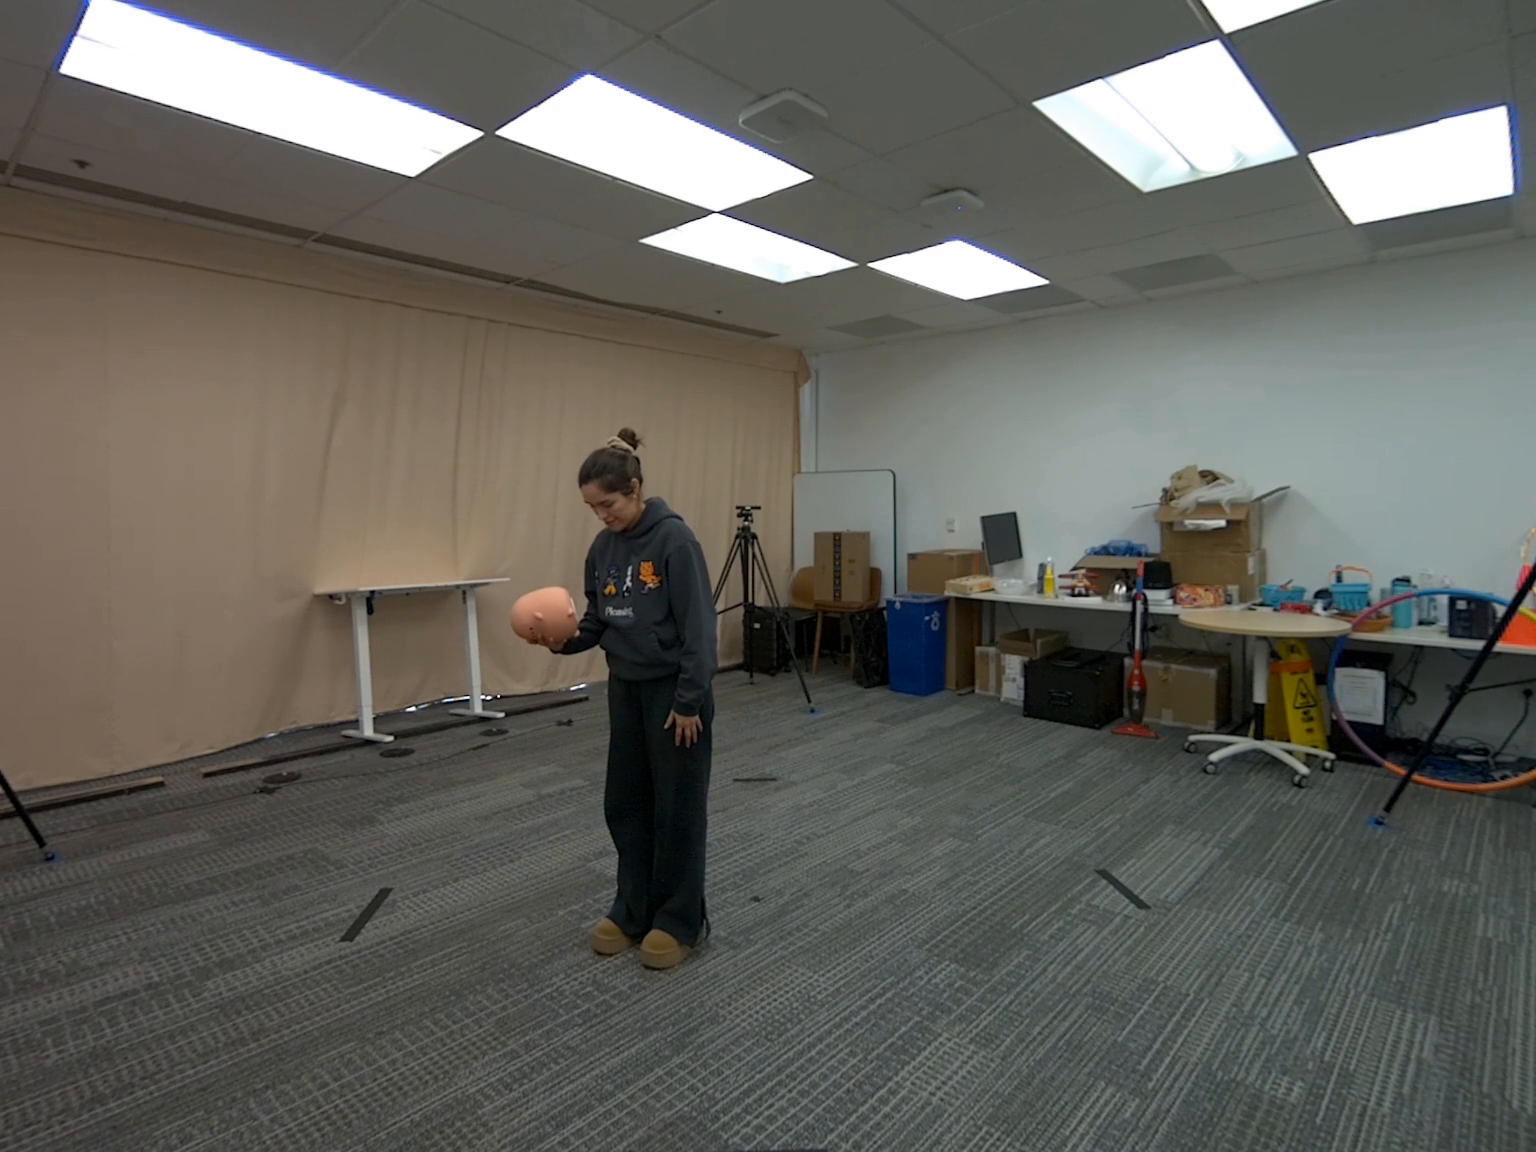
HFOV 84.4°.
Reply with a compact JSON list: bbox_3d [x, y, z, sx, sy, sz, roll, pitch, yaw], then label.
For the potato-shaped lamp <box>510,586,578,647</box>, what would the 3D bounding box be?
[{"bbox_3d":[-0.684,0.135,2.571,0.196,0.176,0.162,-14,-36,-12],"label":"potato-shaped lamp"}]
